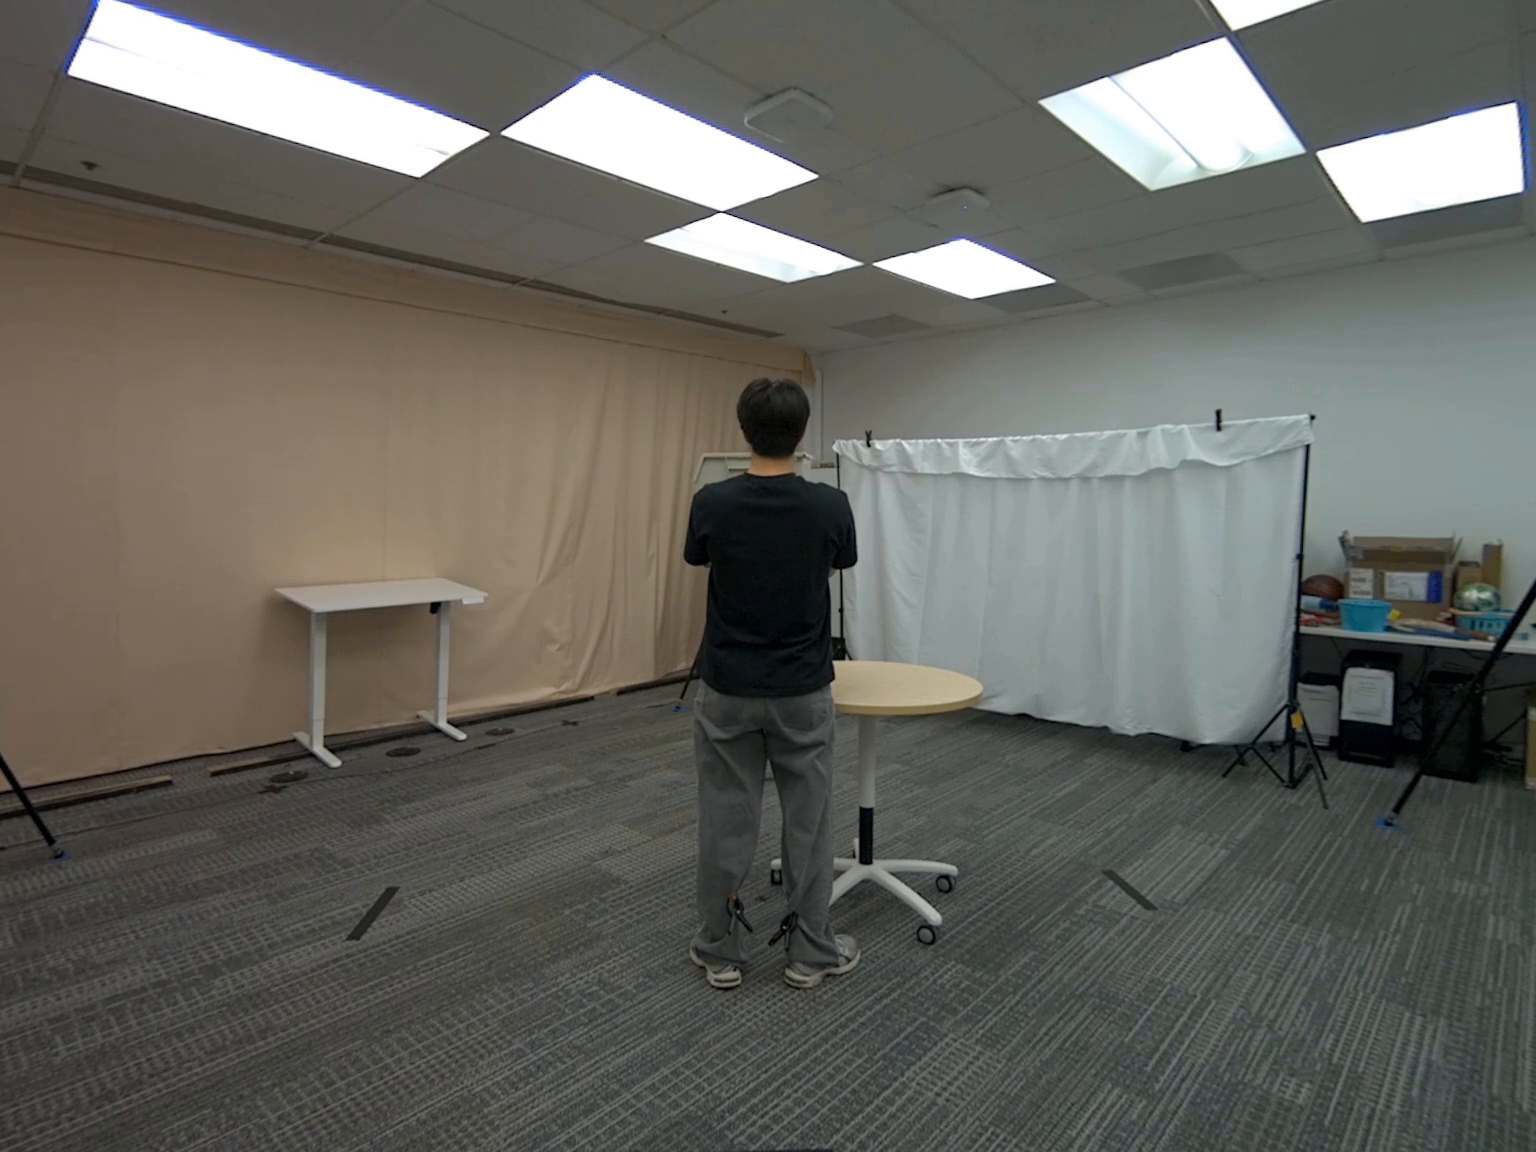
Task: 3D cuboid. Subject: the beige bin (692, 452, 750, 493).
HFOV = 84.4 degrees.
[{"bbox_3d":[-0.041,-0.343,2.978,0.381,0.188,0.419,2,4,7],"label":"beige bin"}]
